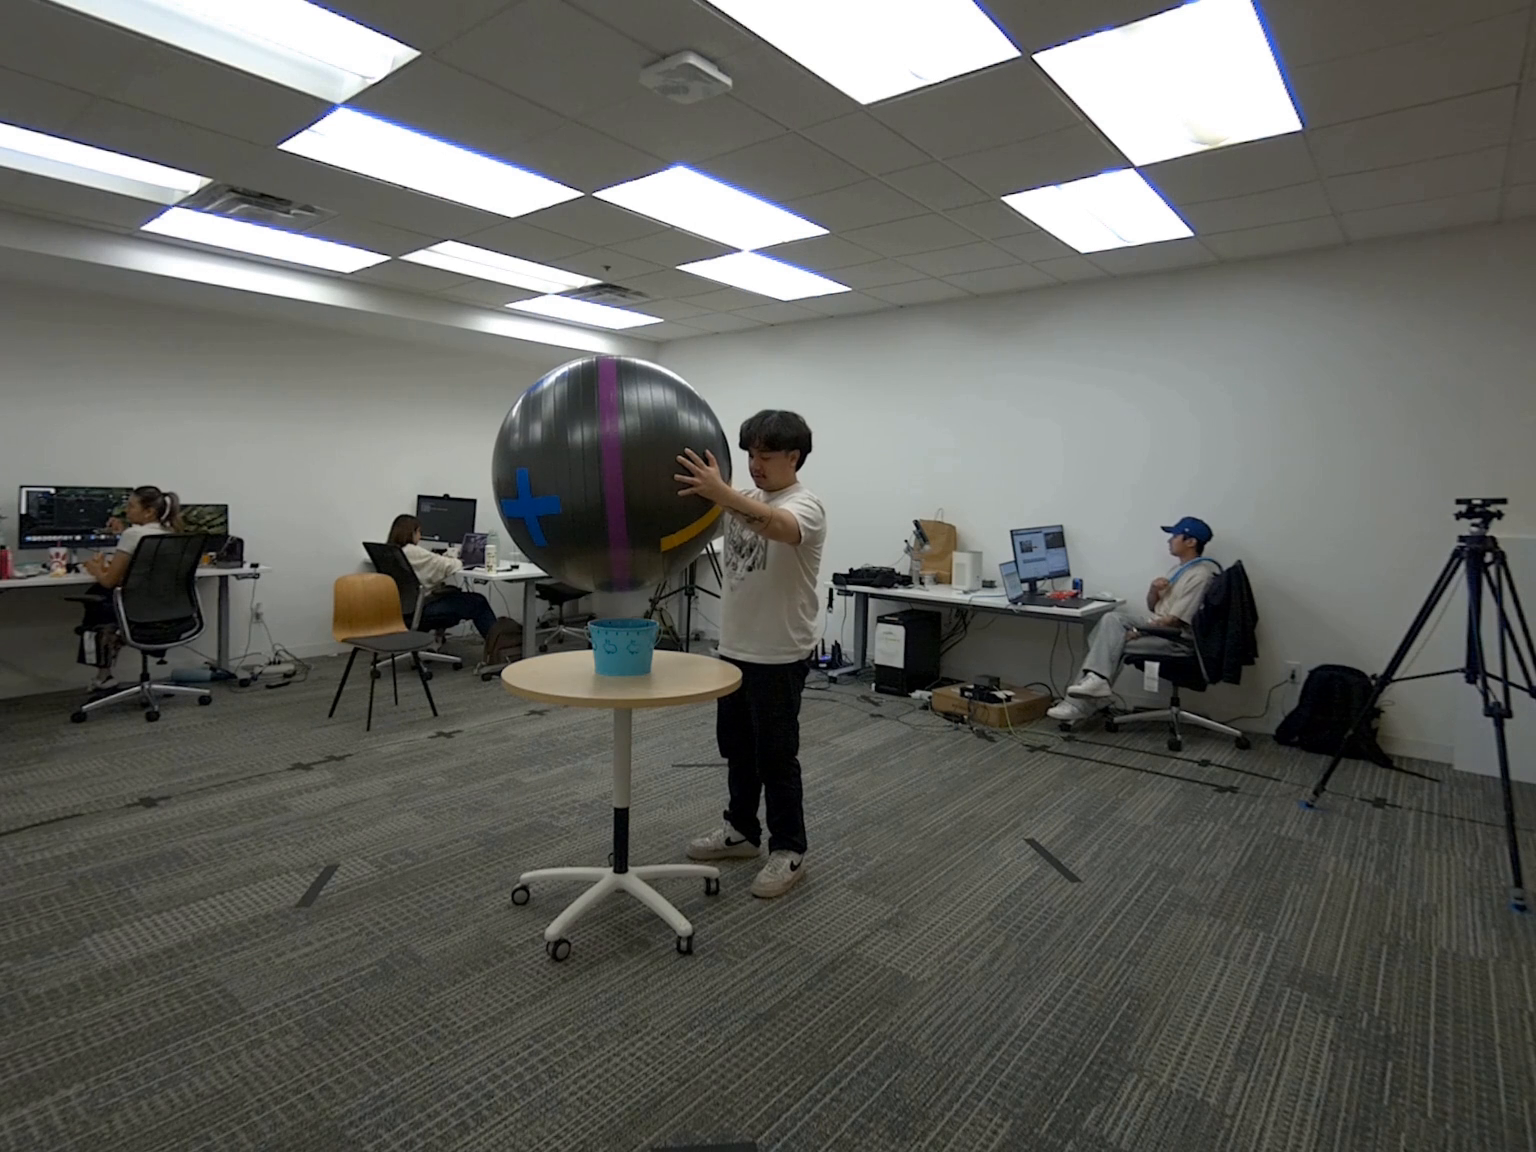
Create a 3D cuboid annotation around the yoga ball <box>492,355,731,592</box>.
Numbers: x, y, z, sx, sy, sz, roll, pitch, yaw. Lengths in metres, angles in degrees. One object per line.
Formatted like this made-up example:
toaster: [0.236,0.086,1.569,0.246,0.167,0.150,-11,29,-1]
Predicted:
yoga ball: [-0.511,-0.325,2.729,0.757,0.756,0.761,1,4,-2]
